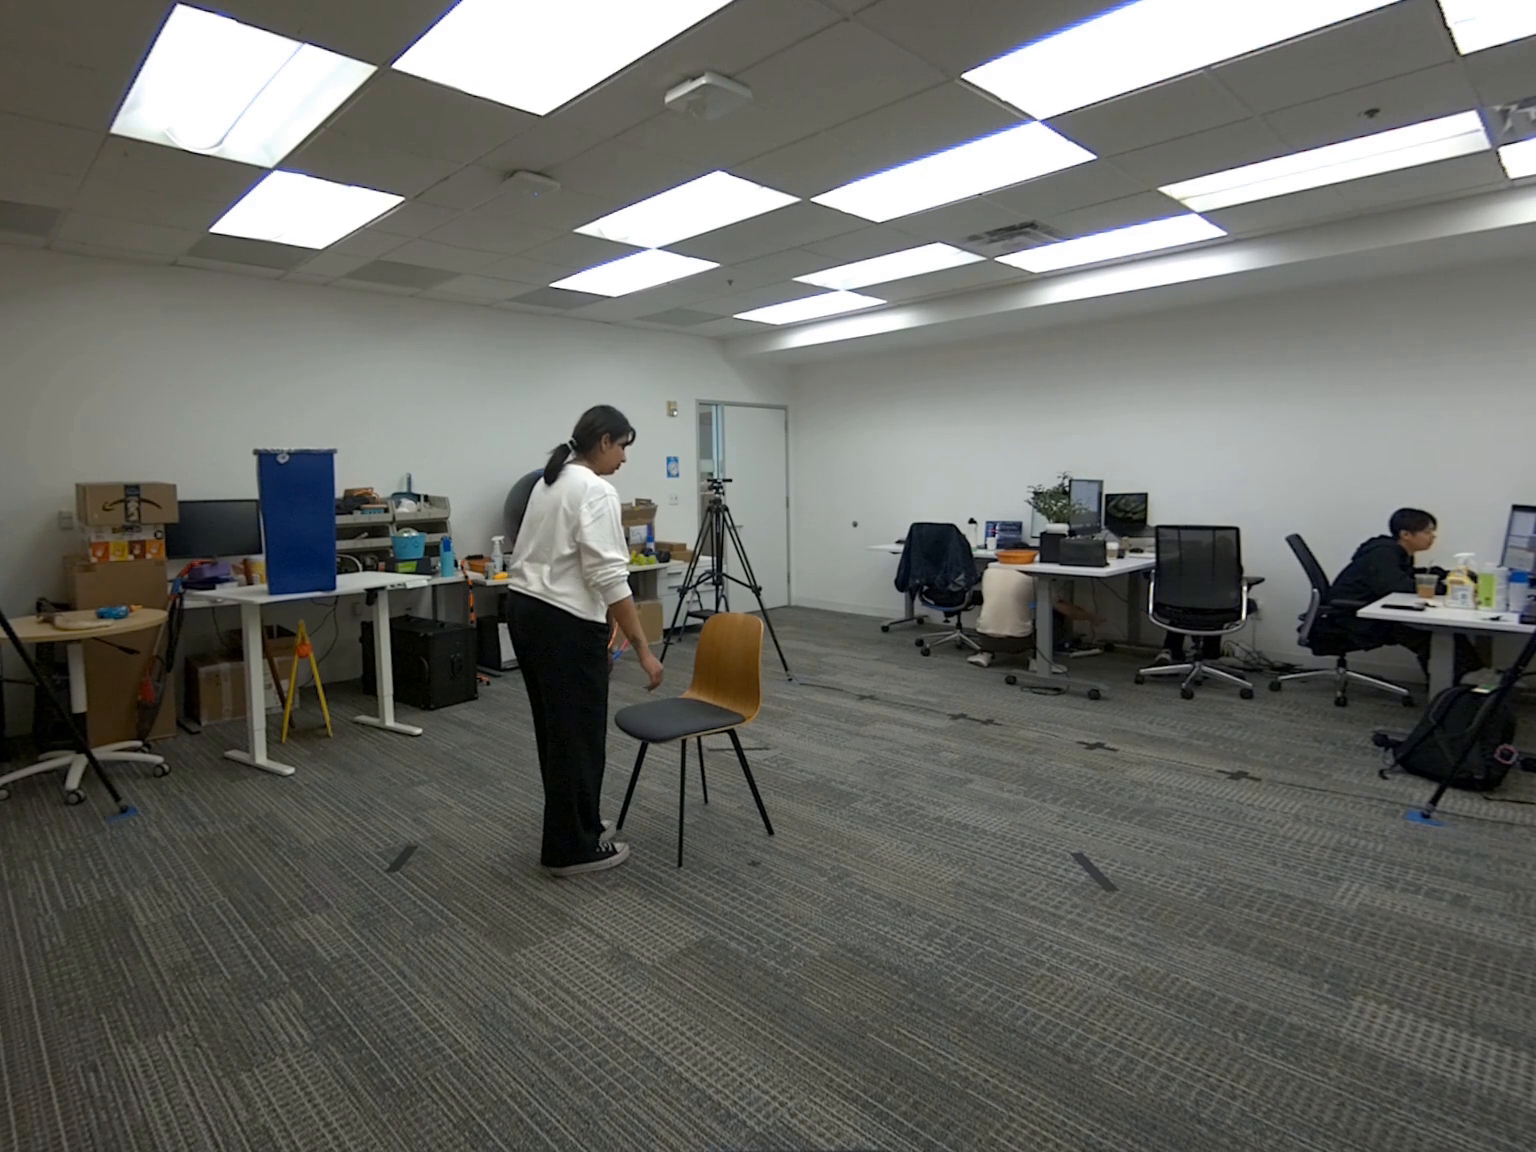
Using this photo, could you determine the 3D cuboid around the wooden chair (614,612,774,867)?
[{"bbox_3d":[-0.301,0.593,3.362,0.508,0.876,0.493,1,2,-39],"label":"wooden chair"}]
